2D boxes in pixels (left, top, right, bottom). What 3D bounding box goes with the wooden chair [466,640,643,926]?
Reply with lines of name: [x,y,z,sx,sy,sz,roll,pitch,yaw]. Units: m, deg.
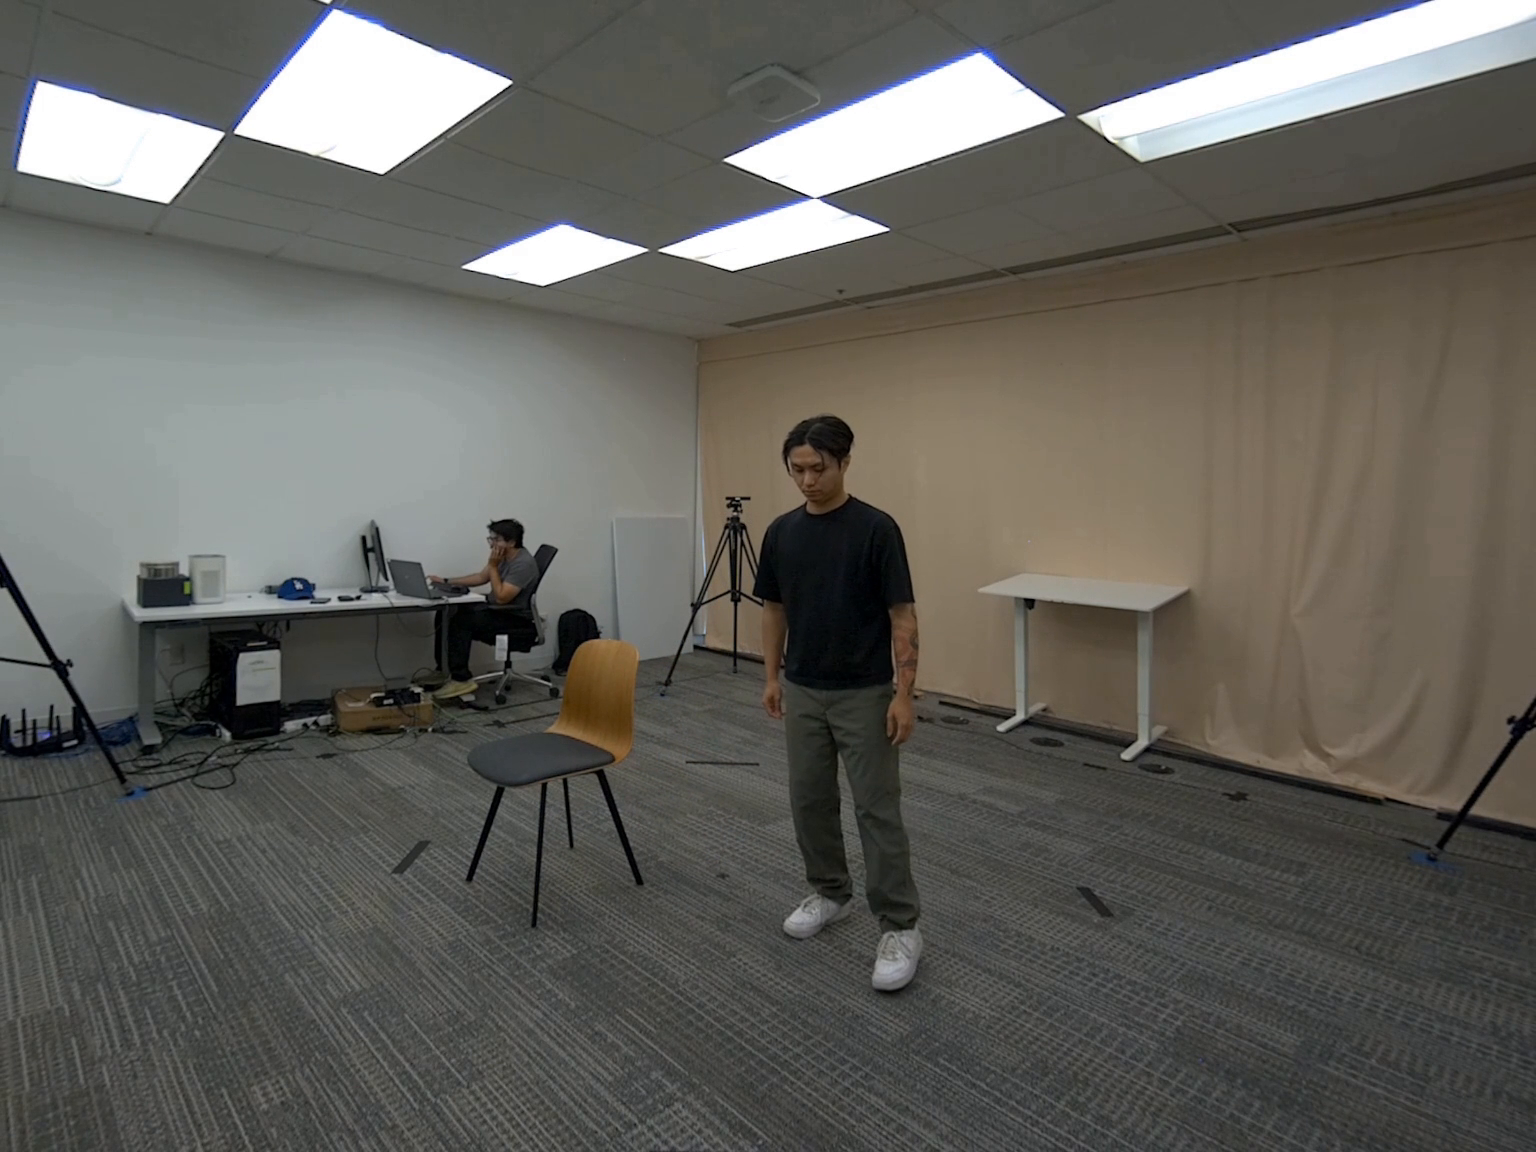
wooden chair: [-0.765,0.681,2.979,0.490,0.877,0.510,5,1,44]
